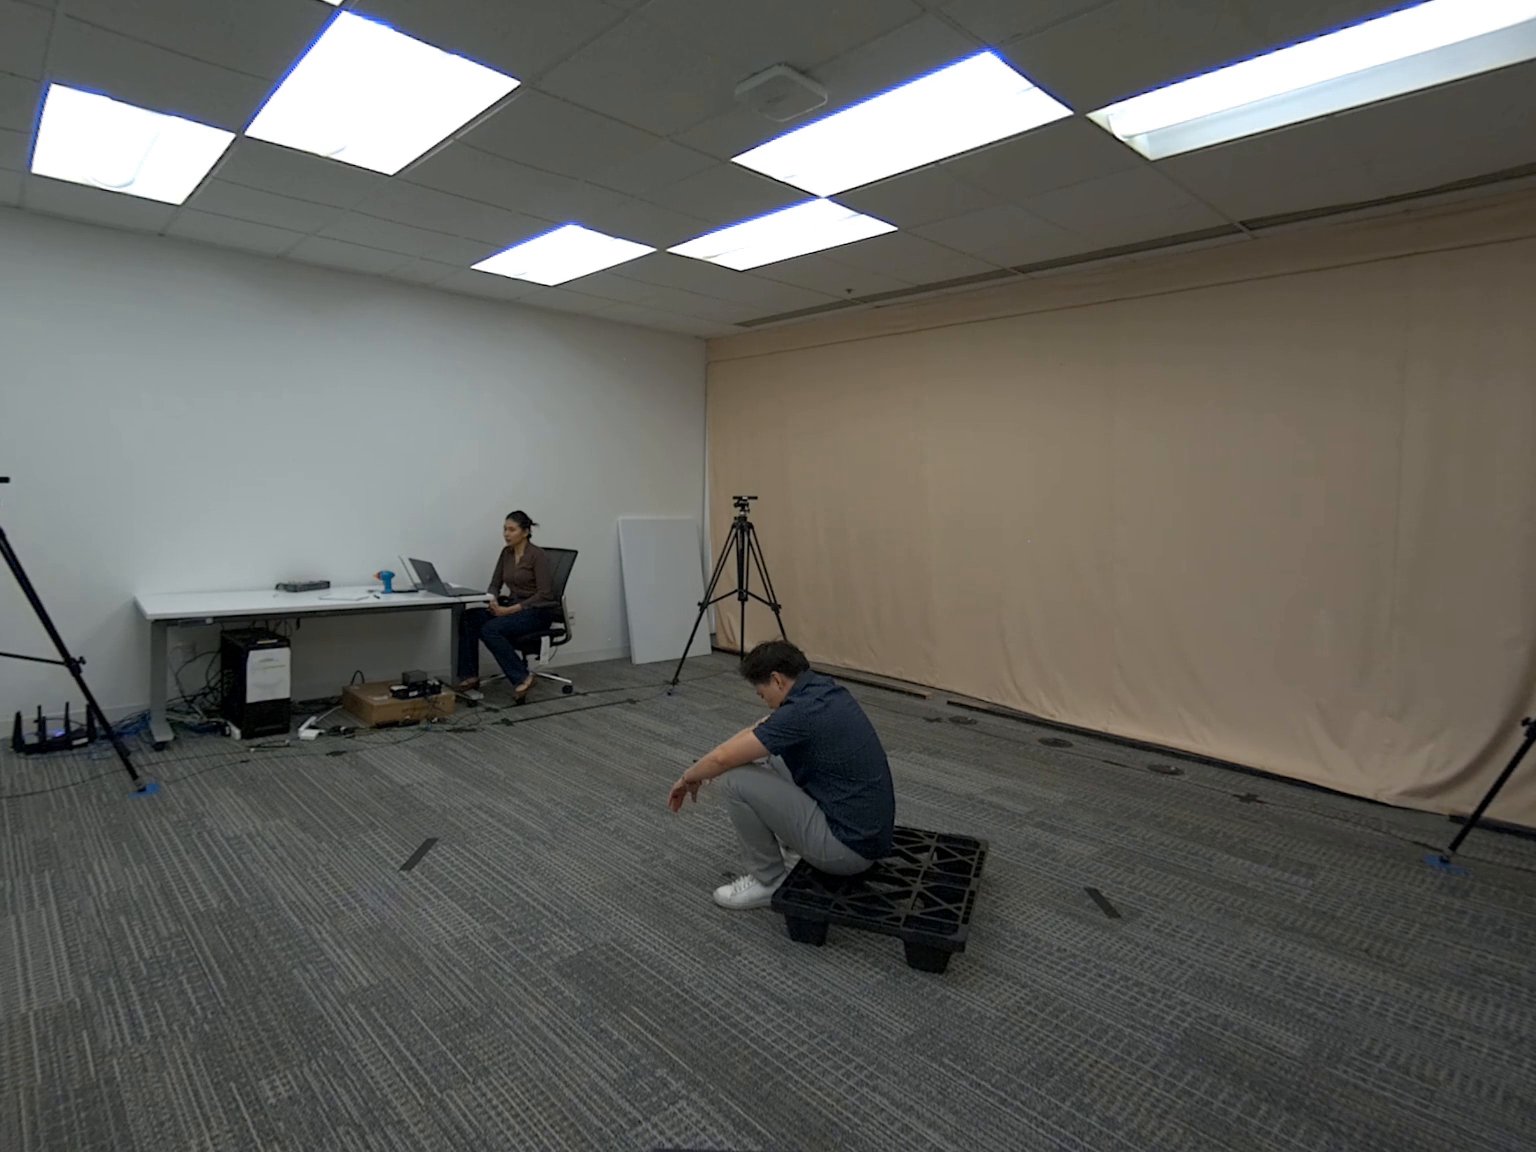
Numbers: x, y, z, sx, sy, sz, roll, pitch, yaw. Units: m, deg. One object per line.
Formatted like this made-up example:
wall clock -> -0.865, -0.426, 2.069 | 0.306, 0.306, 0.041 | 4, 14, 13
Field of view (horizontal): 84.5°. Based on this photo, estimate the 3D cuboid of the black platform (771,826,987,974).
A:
black platform -> 0.404, 1.068, 2.895 | 0.615, 0.143, 0.795 | 3, 6, 20
